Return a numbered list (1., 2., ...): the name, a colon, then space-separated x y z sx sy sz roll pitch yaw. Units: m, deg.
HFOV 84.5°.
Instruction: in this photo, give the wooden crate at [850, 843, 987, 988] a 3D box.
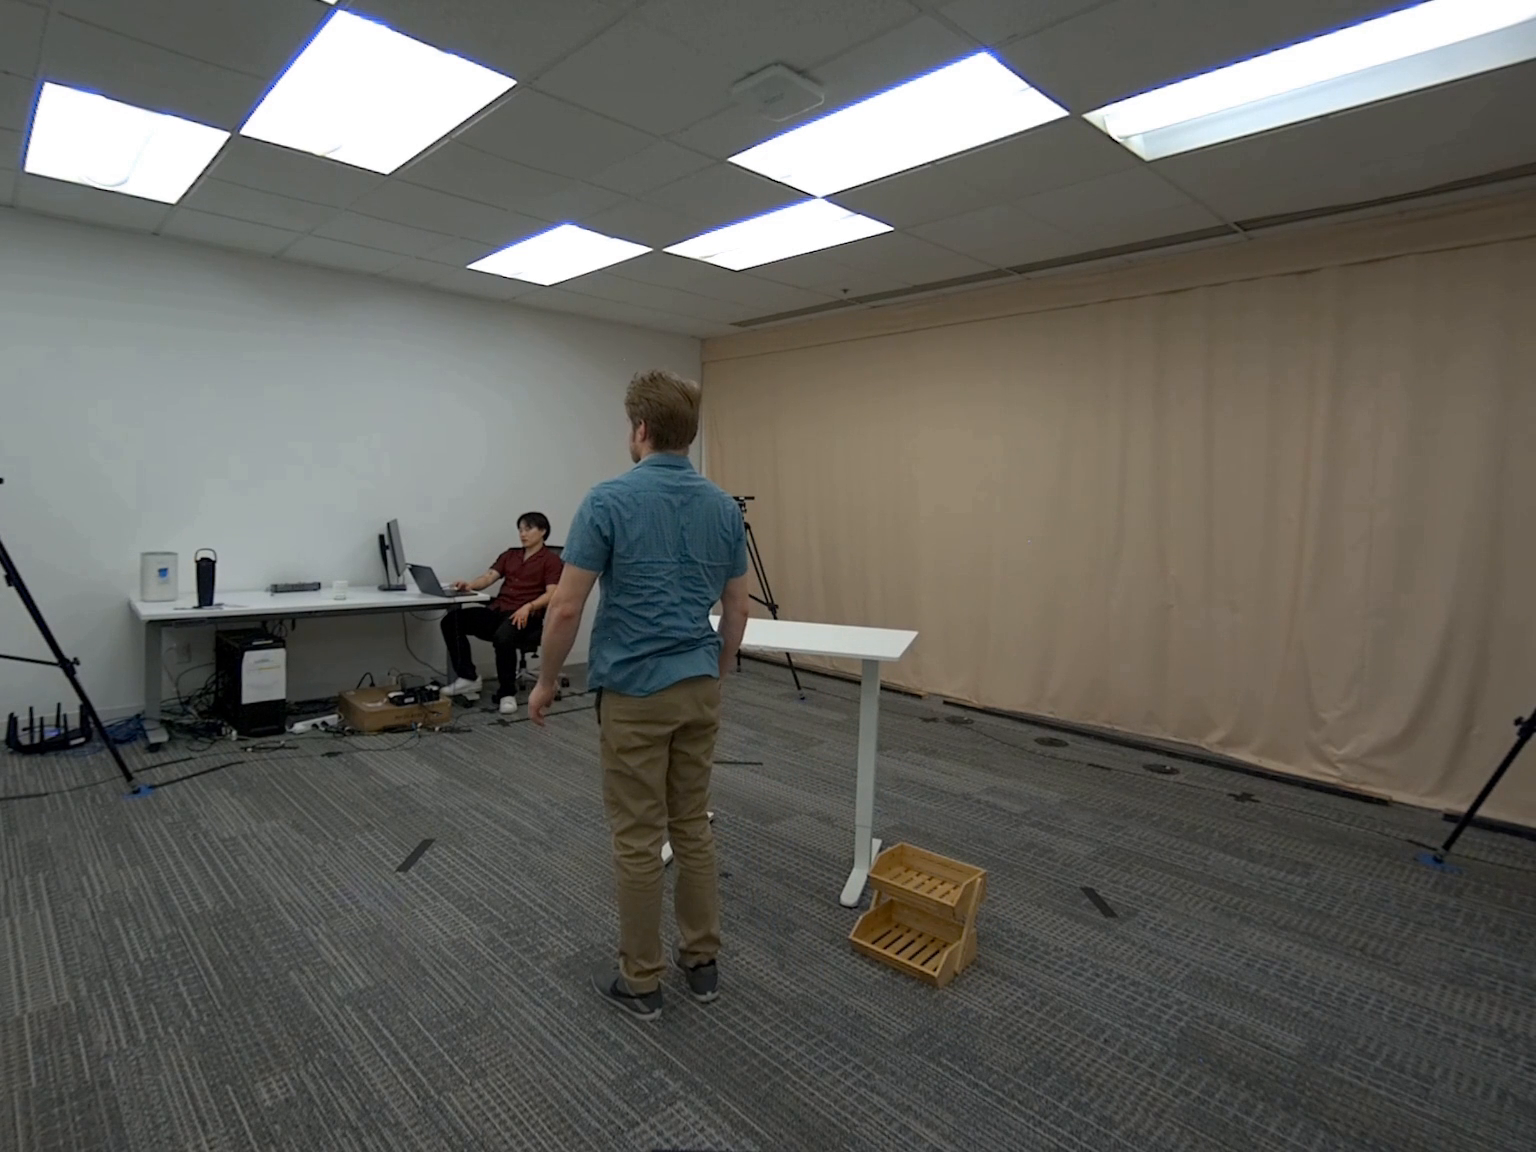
1. wooden crate: 0.459 1.032 2.596 0.332 0.273 0.295 5 5 40
